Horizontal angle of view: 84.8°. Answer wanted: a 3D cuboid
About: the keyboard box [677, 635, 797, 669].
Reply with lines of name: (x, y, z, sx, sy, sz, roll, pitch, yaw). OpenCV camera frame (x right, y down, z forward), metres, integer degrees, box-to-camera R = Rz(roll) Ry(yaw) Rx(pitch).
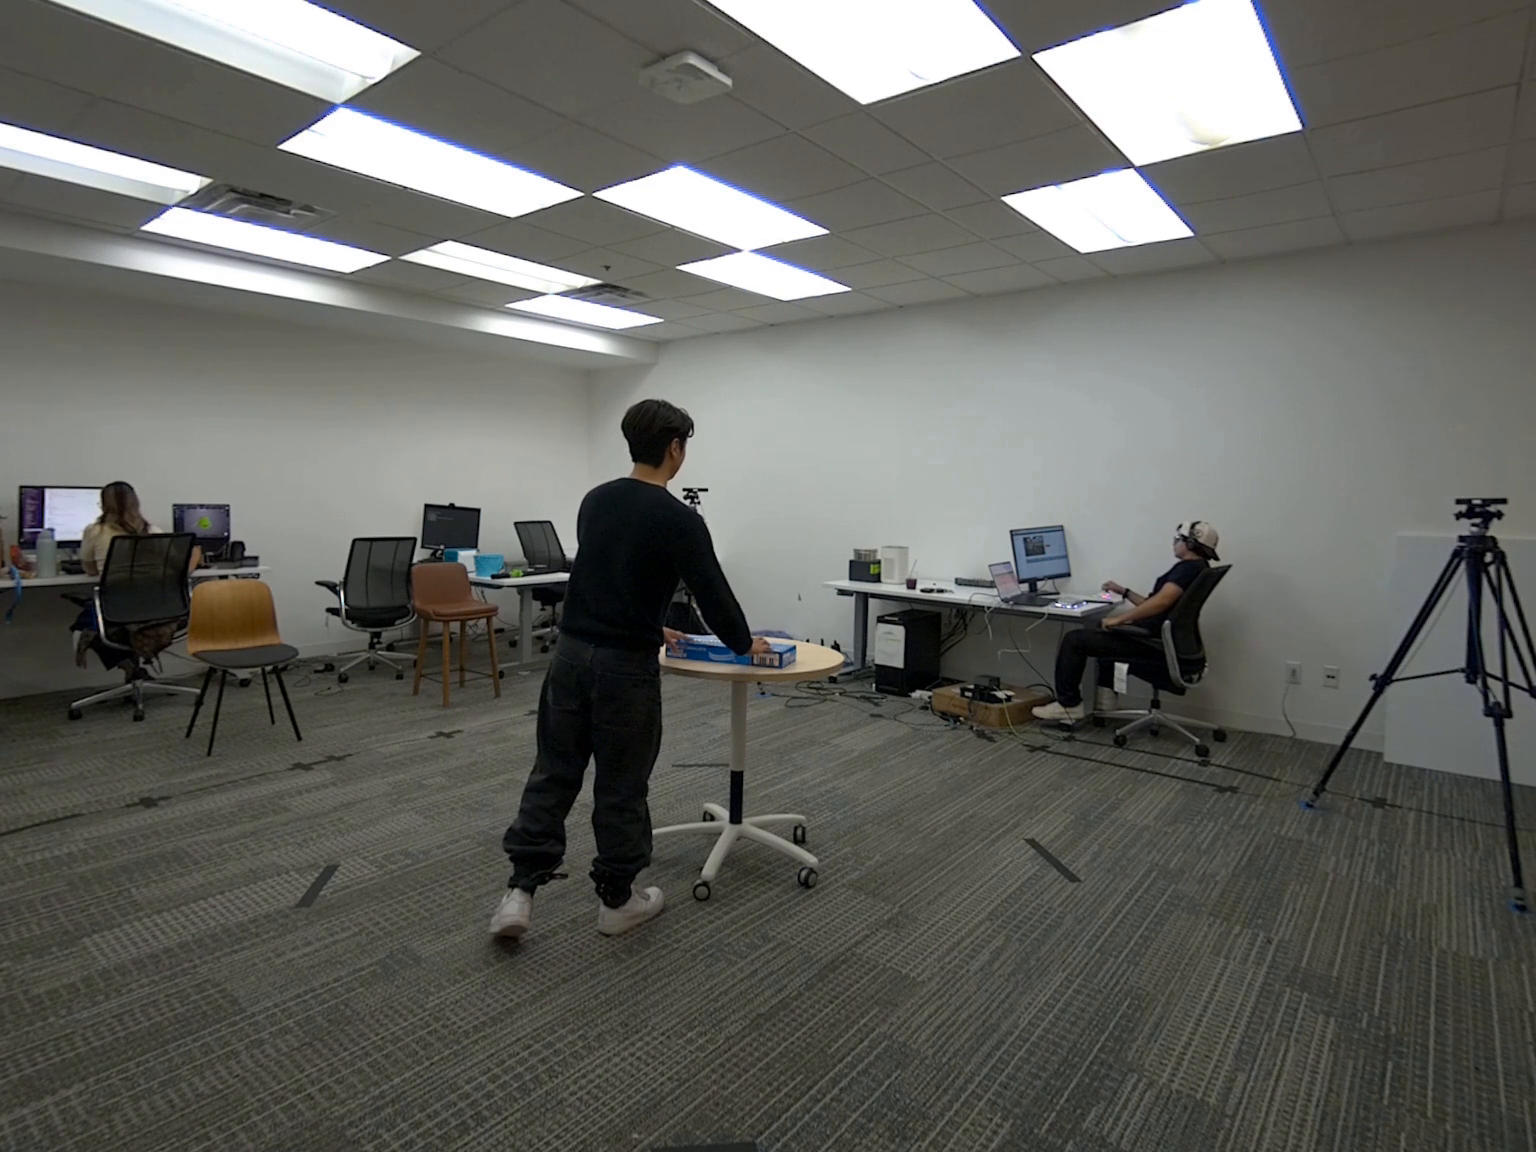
keyboard box: (-0.142, 0.262, 3.040, 0.447, 0.059, 0.172, 3, 4, 21)
